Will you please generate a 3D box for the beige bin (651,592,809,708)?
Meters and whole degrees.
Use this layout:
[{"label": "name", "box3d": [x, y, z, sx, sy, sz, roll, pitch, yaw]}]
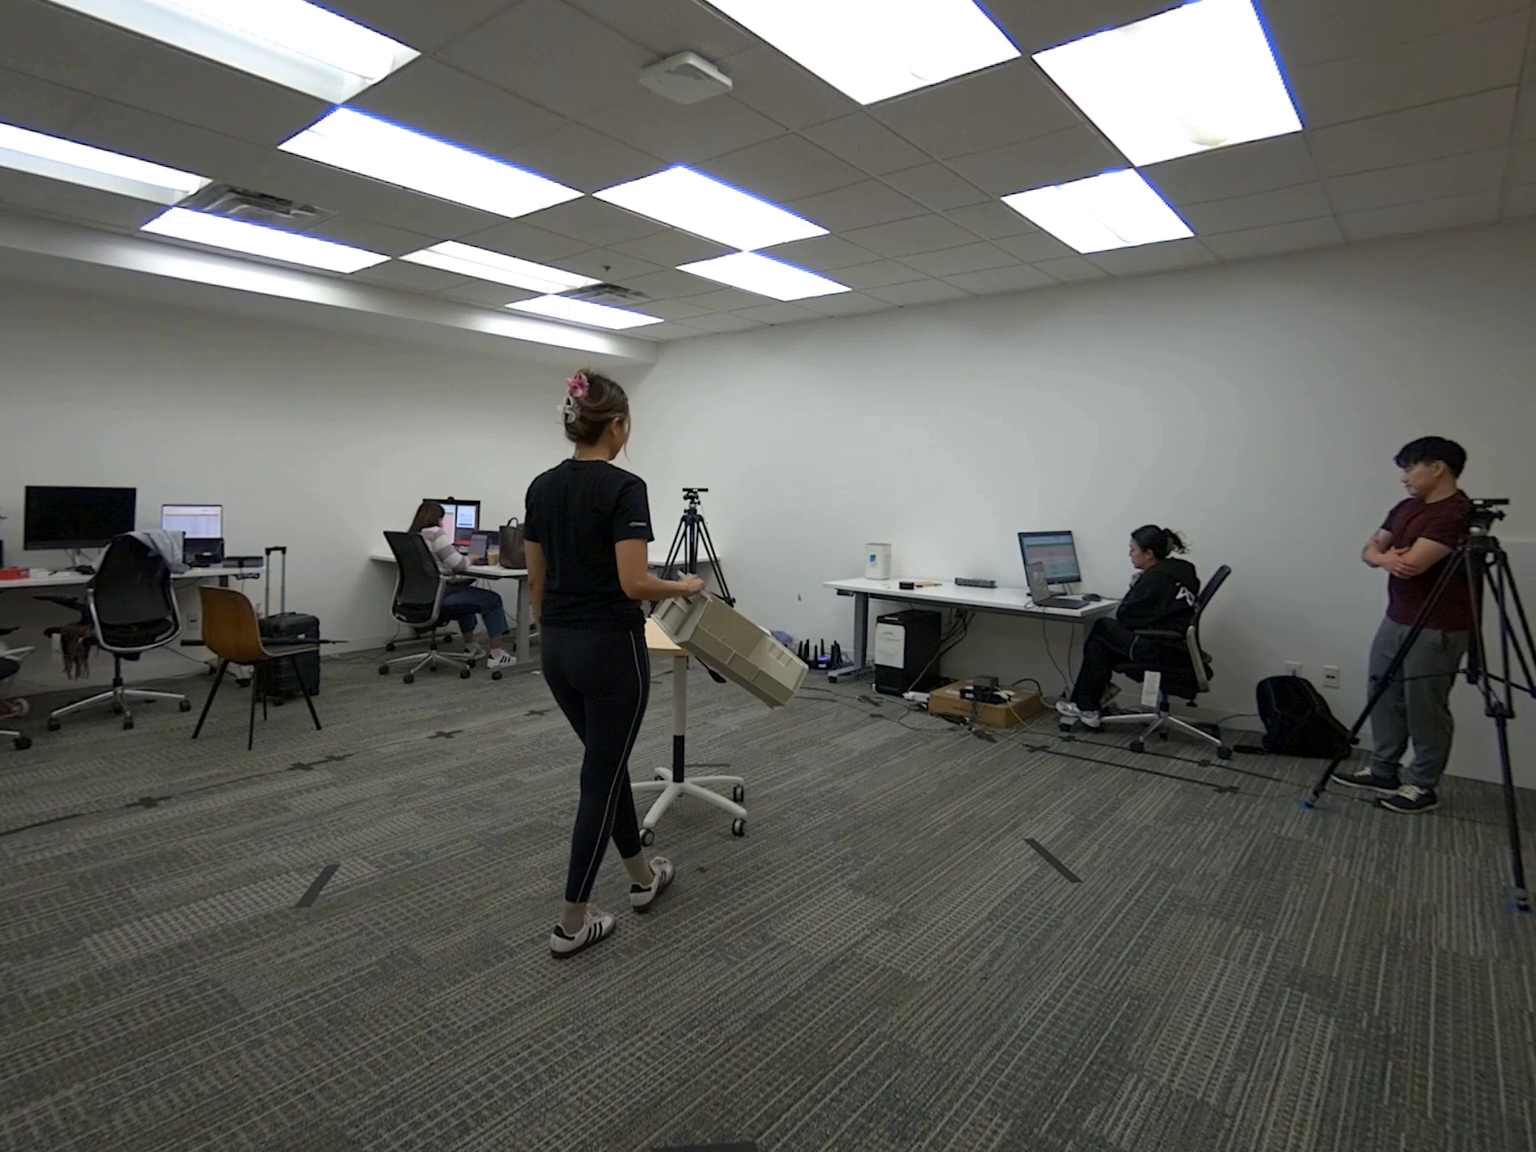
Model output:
[{"label": "beige bin", "box3d": [-0.134, 0.203, 2.762, 0.410, 0.189, 0.388, 36, -4, -23]}]
